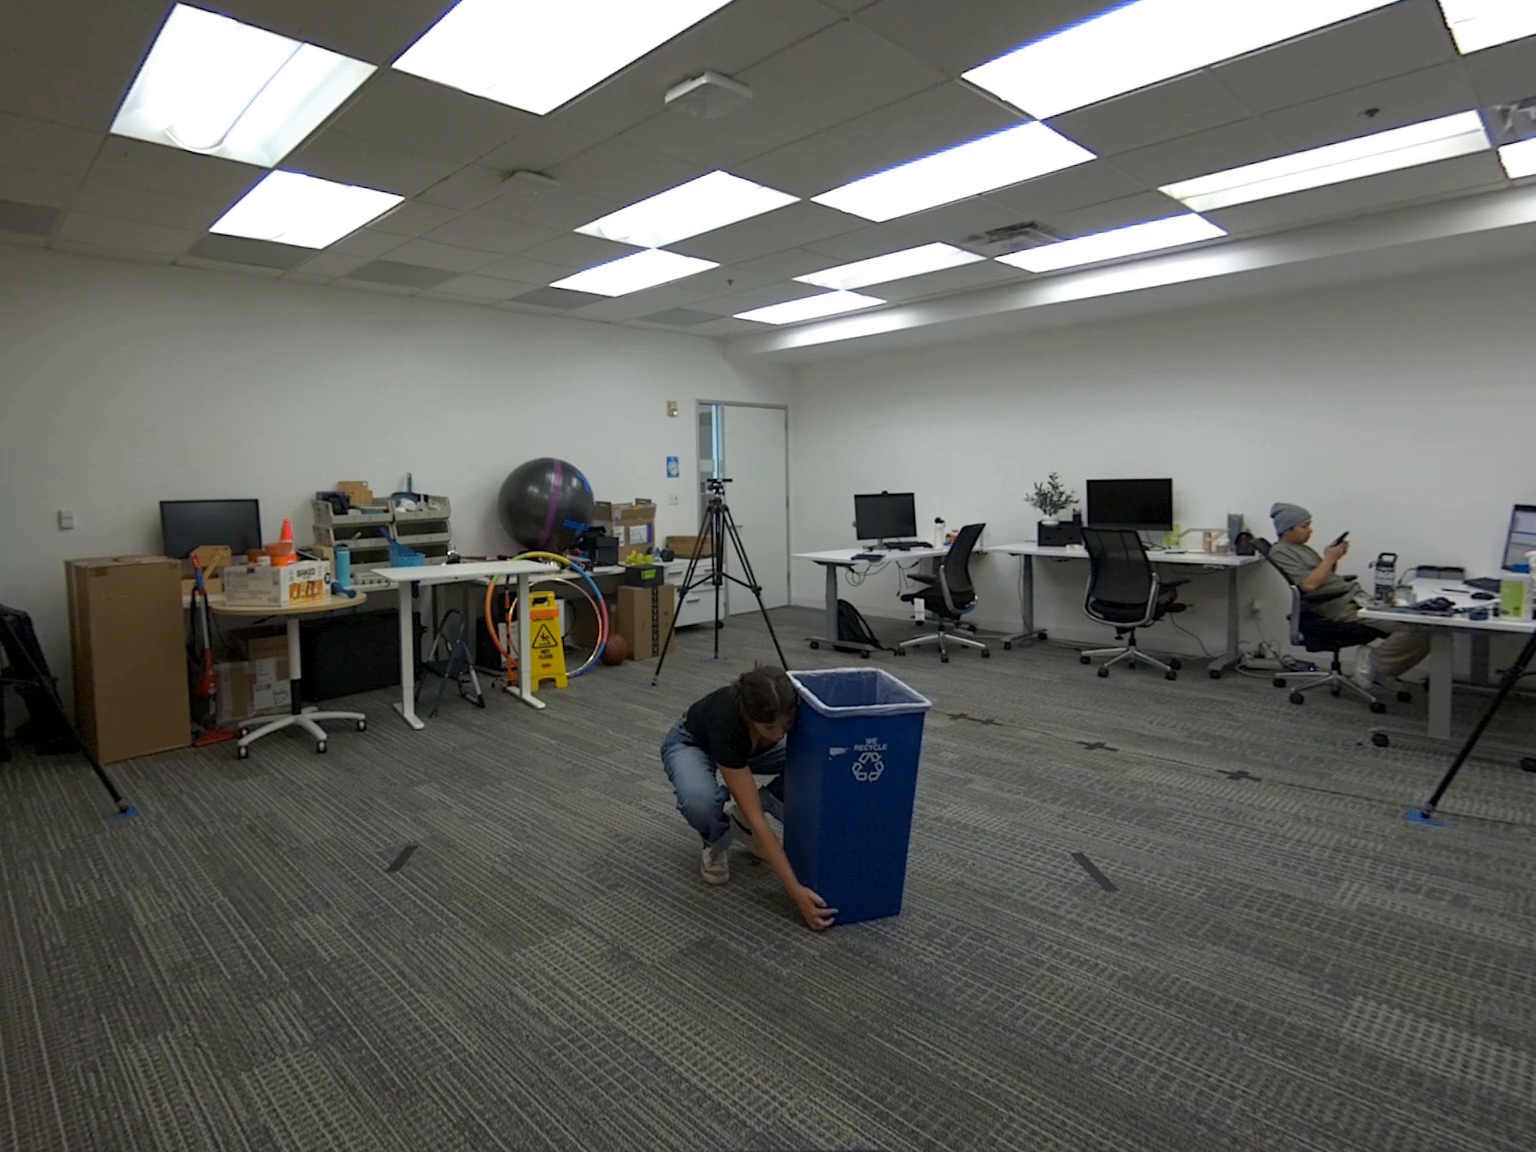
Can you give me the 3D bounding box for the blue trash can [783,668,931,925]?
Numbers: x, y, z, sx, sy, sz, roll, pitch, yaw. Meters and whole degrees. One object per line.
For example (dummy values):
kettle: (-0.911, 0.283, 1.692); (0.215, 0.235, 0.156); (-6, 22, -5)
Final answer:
blue trash can: (0.269, 0.699, 2.768); (0.368, 0.708, 0.388); (0, 9, -19)
